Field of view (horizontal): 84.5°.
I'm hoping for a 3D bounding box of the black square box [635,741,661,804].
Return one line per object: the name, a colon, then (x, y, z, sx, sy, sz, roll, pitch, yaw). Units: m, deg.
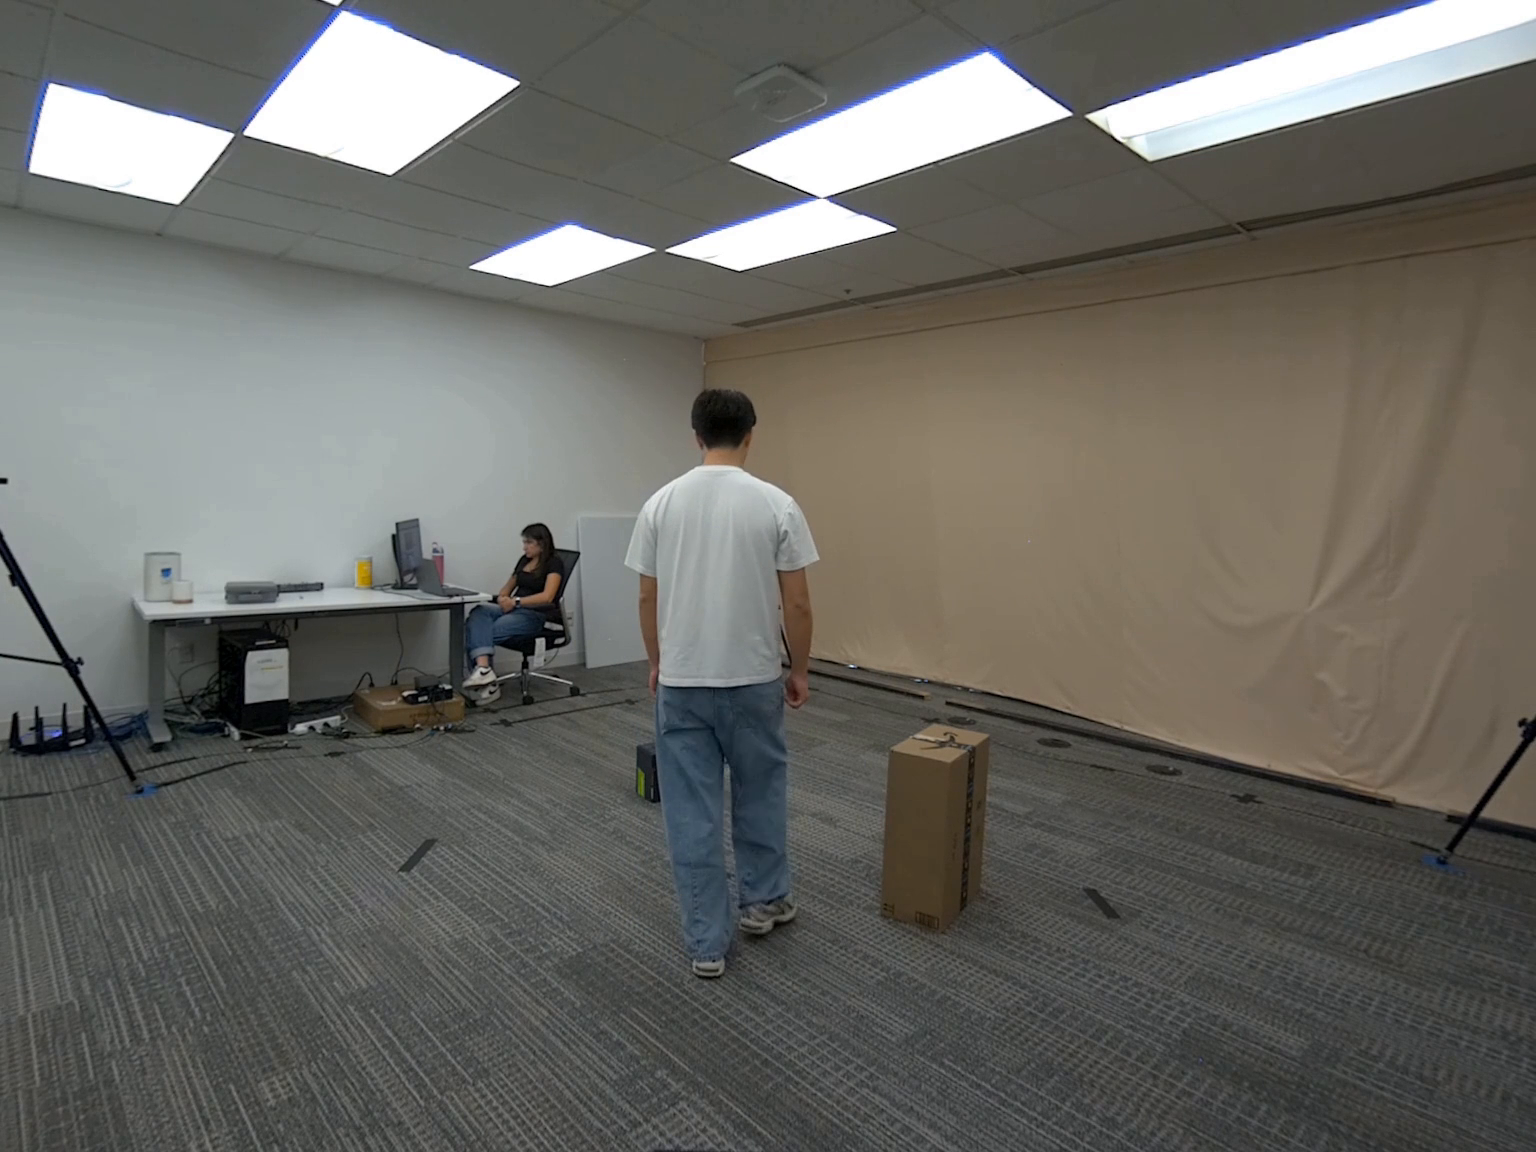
black square box: (-0.497, 0.907, 3.940, 0.212, 0.227, 0.160, -2, 5, -37)
